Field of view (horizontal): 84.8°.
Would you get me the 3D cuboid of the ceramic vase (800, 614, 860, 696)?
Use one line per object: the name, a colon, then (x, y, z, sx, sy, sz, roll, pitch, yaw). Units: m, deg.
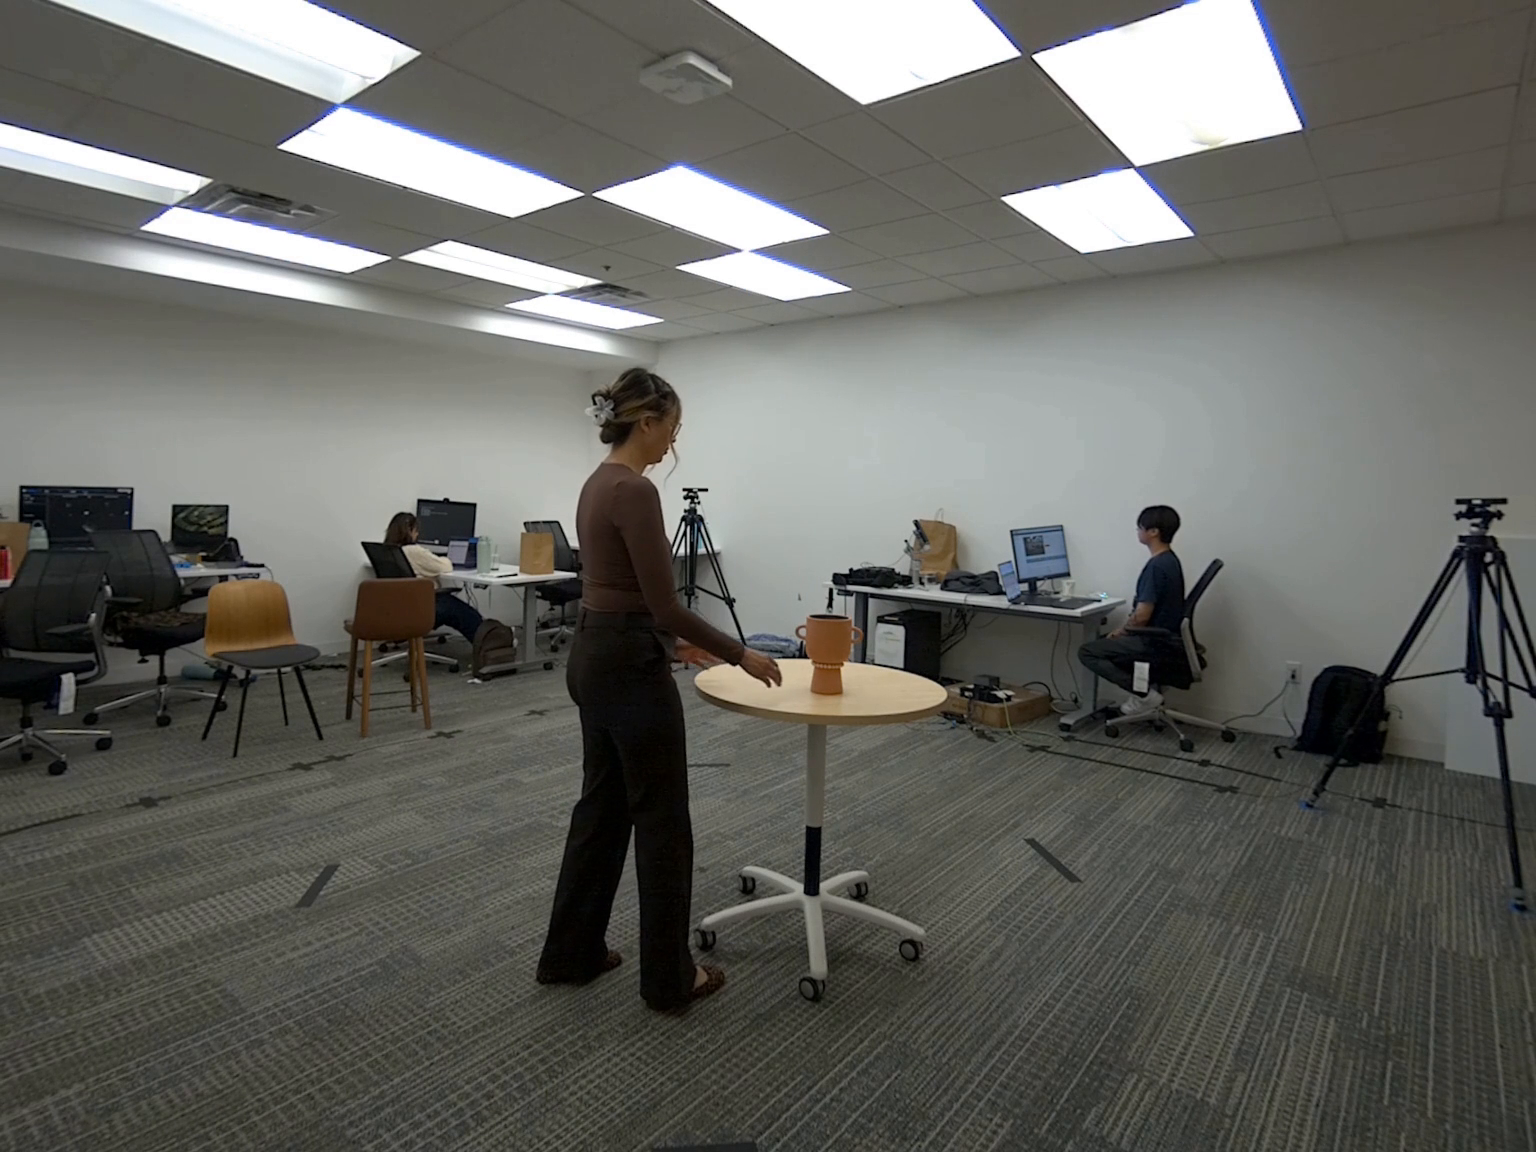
ceramic vase: (0.176, 0.232, 2.508, 0.164, 0.219, 0.130, 5, 5, 44)
